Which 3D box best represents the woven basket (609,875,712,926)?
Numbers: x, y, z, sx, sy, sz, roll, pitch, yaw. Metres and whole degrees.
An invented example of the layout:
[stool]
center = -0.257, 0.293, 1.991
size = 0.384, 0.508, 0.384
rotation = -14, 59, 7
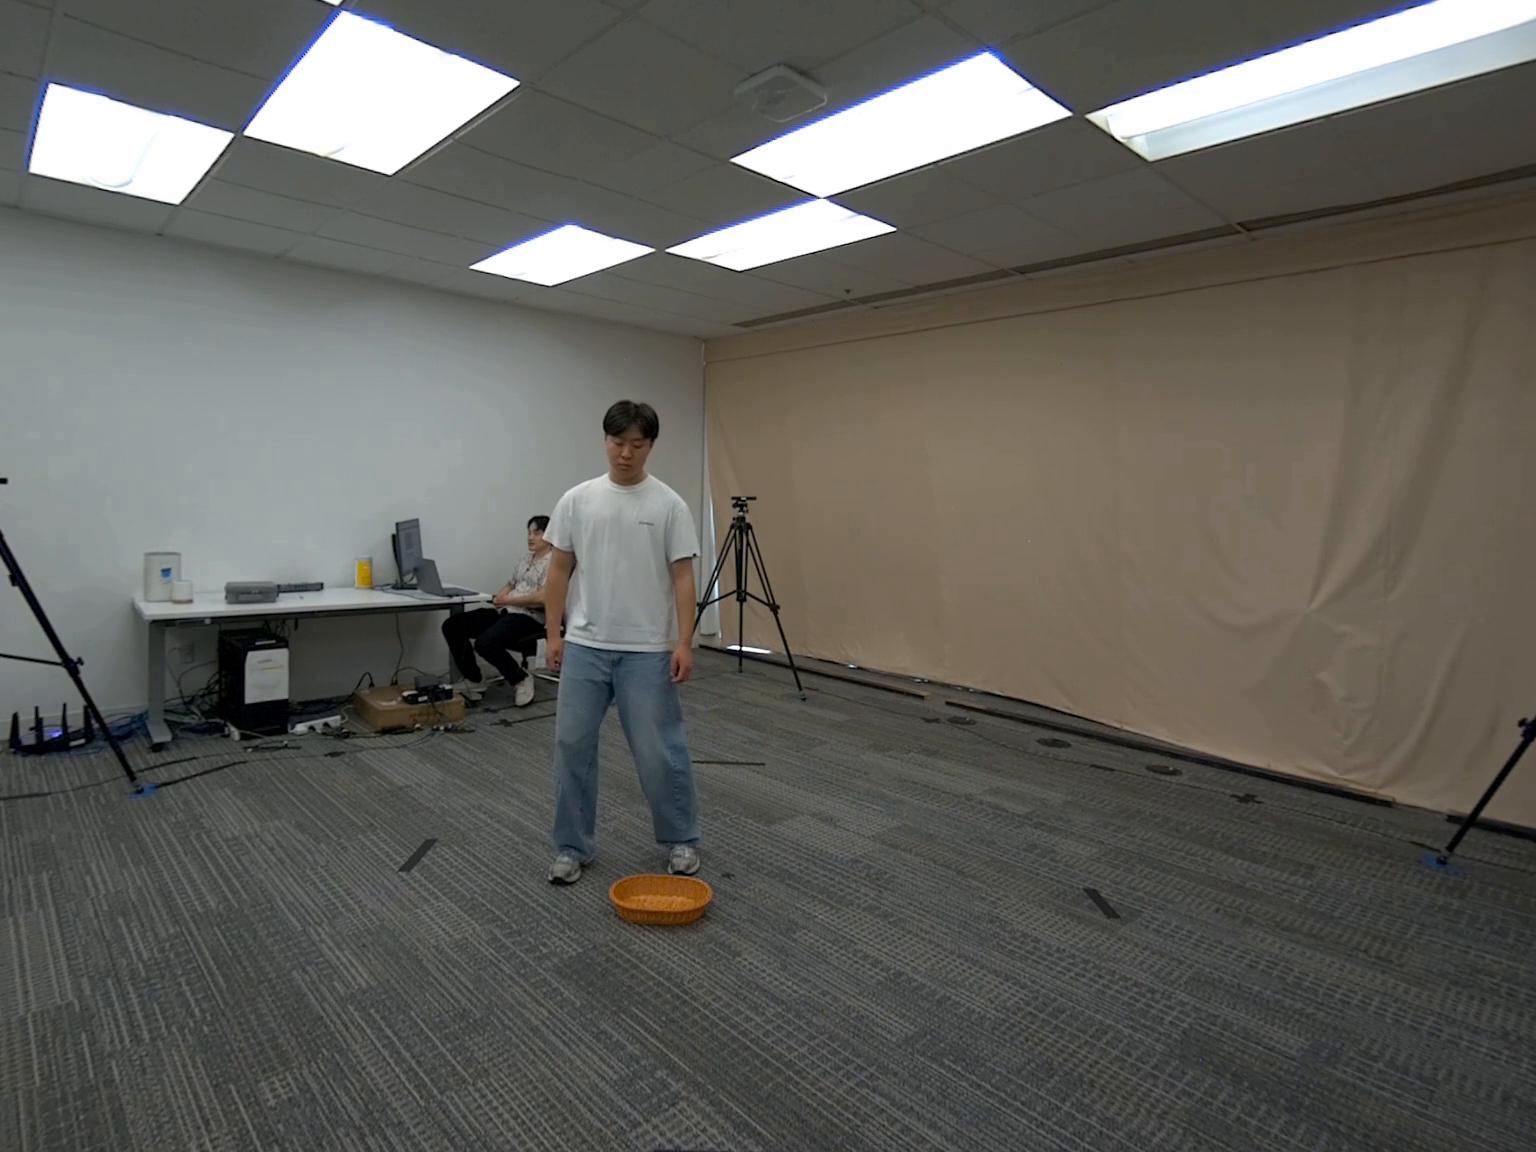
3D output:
[woven basket]
center = -0.369, 1.089, 2.826
size = 0.352, 0.073, 0.252
rotation = 2, 5, 5
